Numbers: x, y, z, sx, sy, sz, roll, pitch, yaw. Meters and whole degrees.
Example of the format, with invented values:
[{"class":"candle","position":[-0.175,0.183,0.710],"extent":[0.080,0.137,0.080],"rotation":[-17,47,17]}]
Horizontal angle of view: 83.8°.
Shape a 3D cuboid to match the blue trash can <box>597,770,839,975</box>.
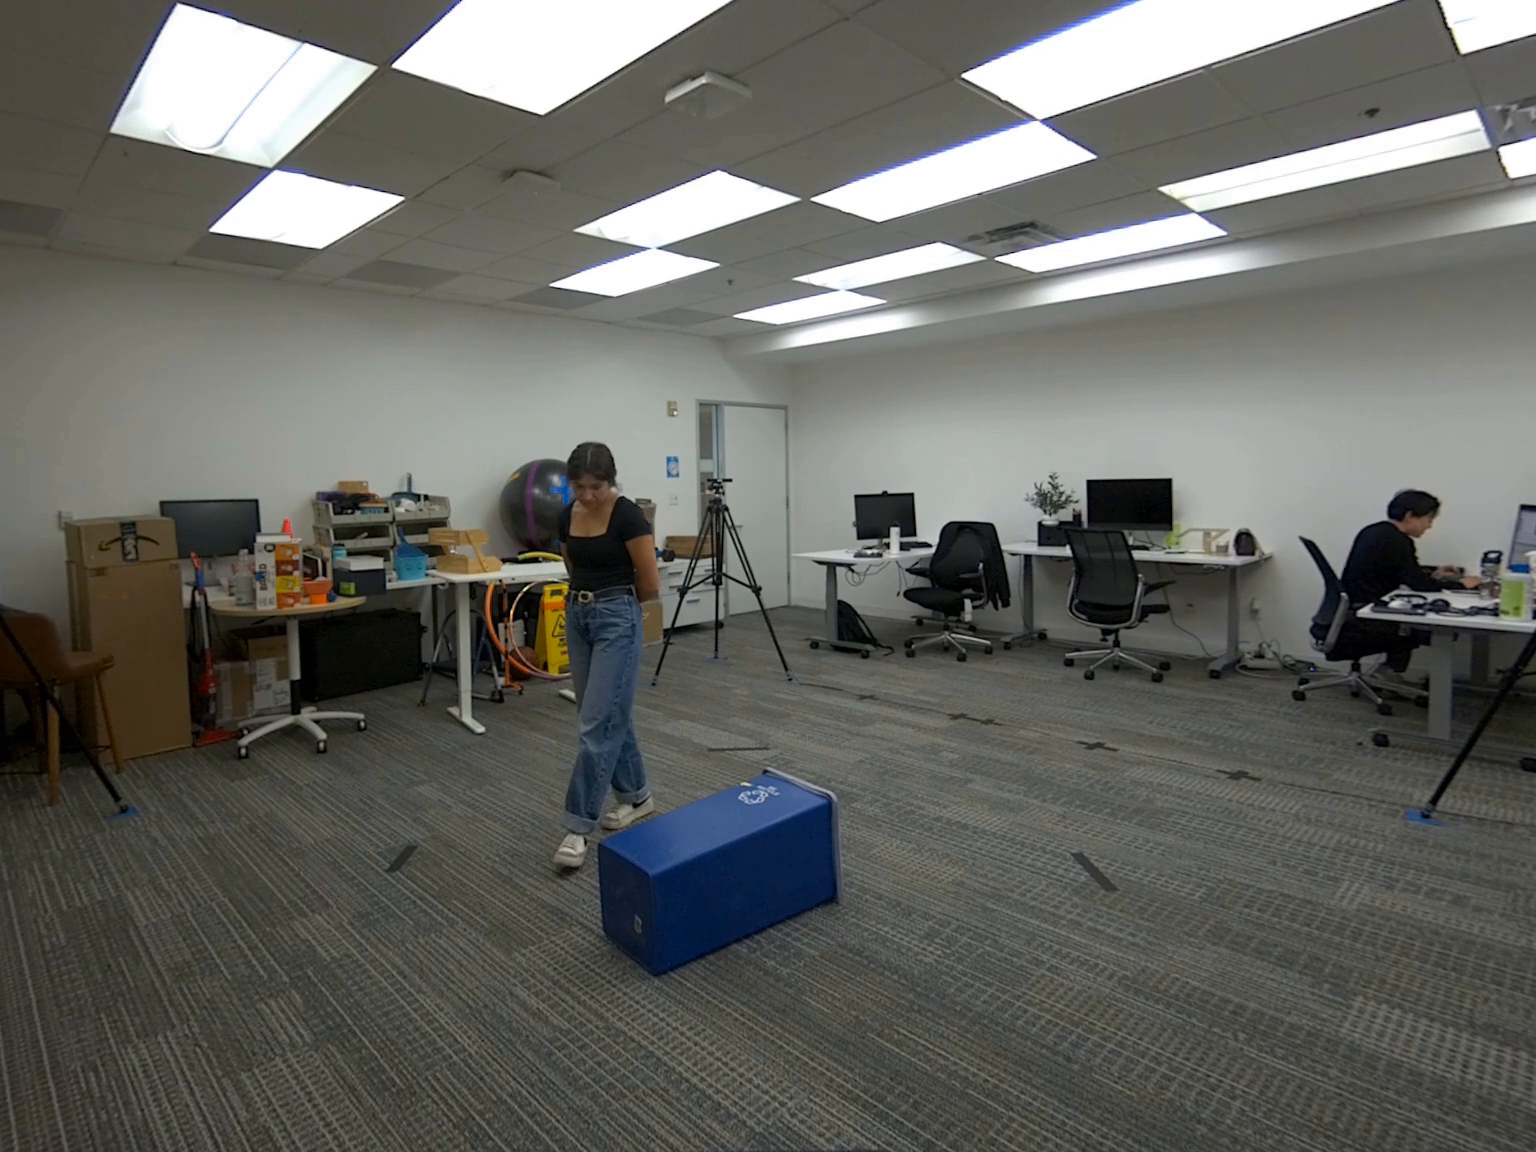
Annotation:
[{"class":"blue trash can","position":[-0.145,0.925,2.716],"extent":[0.696,0.375,0.386],"rotation":[-10,10,-39]}]
